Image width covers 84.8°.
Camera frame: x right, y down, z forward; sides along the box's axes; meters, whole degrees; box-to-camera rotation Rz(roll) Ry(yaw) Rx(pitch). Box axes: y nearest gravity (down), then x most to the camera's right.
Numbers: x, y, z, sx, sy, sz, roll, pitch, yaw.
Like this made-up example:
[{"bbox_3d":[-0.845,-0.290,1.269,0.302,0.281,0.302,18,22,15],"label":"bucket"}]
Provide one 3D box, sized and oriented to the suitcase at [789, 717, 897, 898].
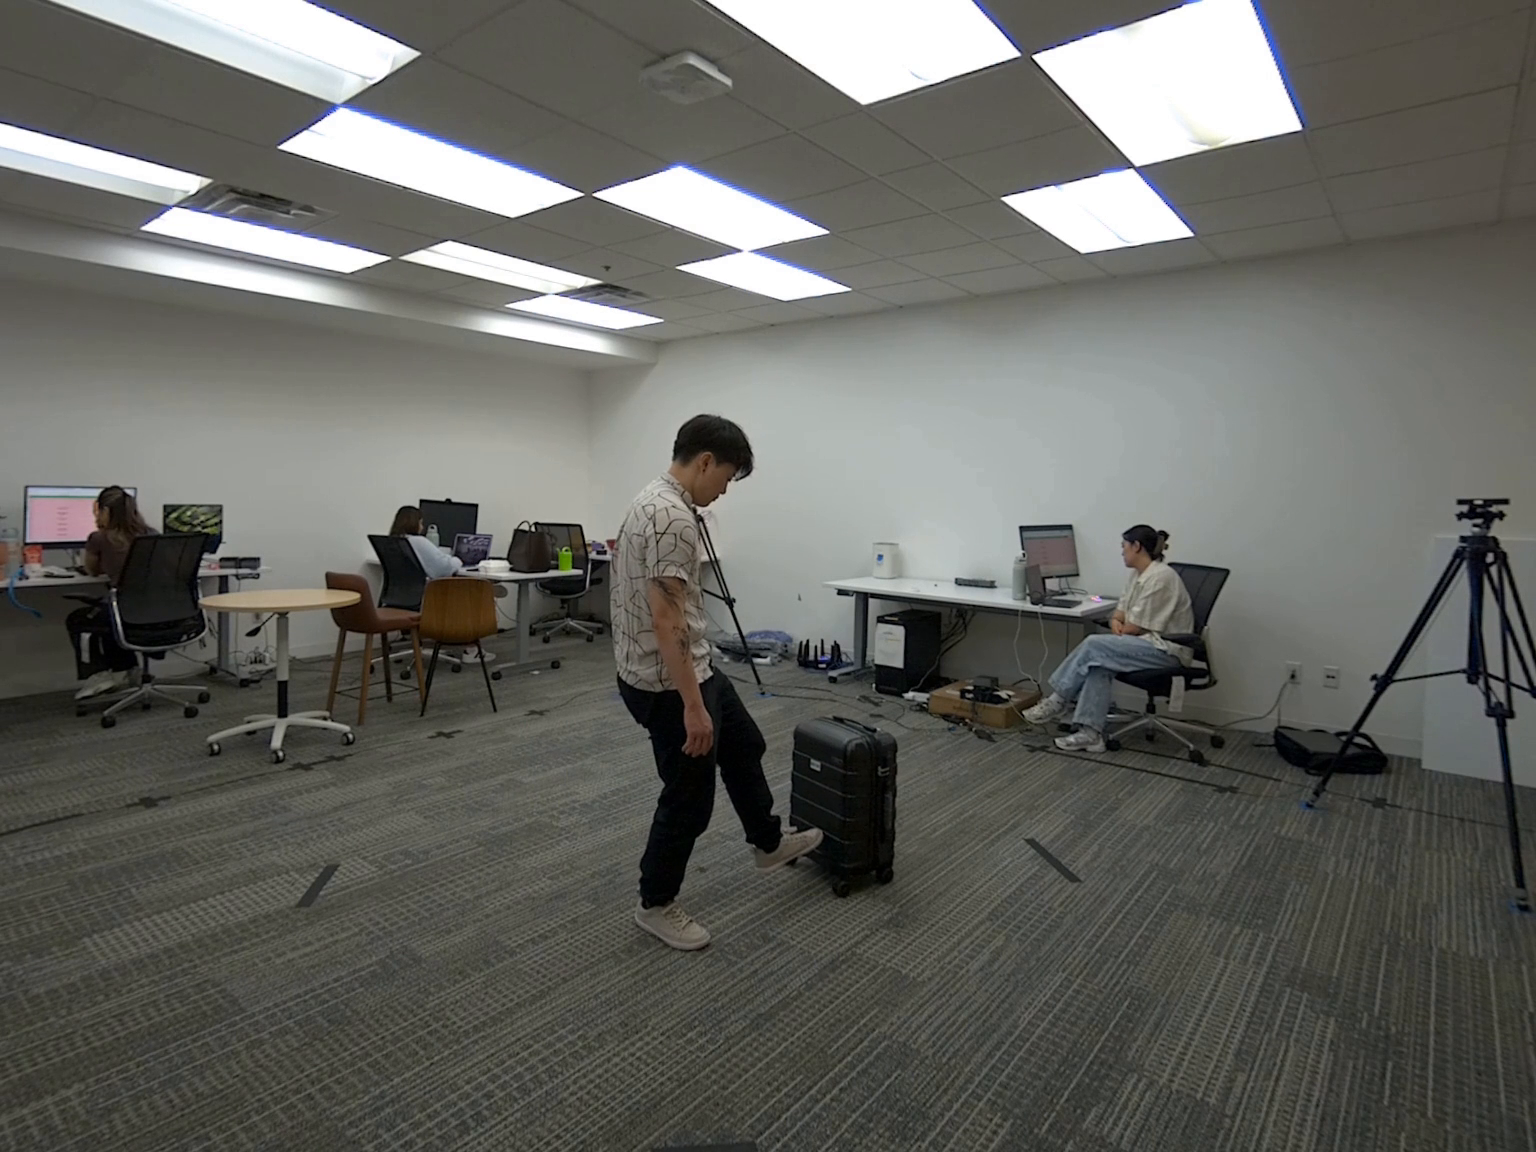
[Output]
[{"bbox_3d":[0.264,0.801,3.105,0.241,0.548,0.388,-1,4,-36],"label":"suitcase"}]
